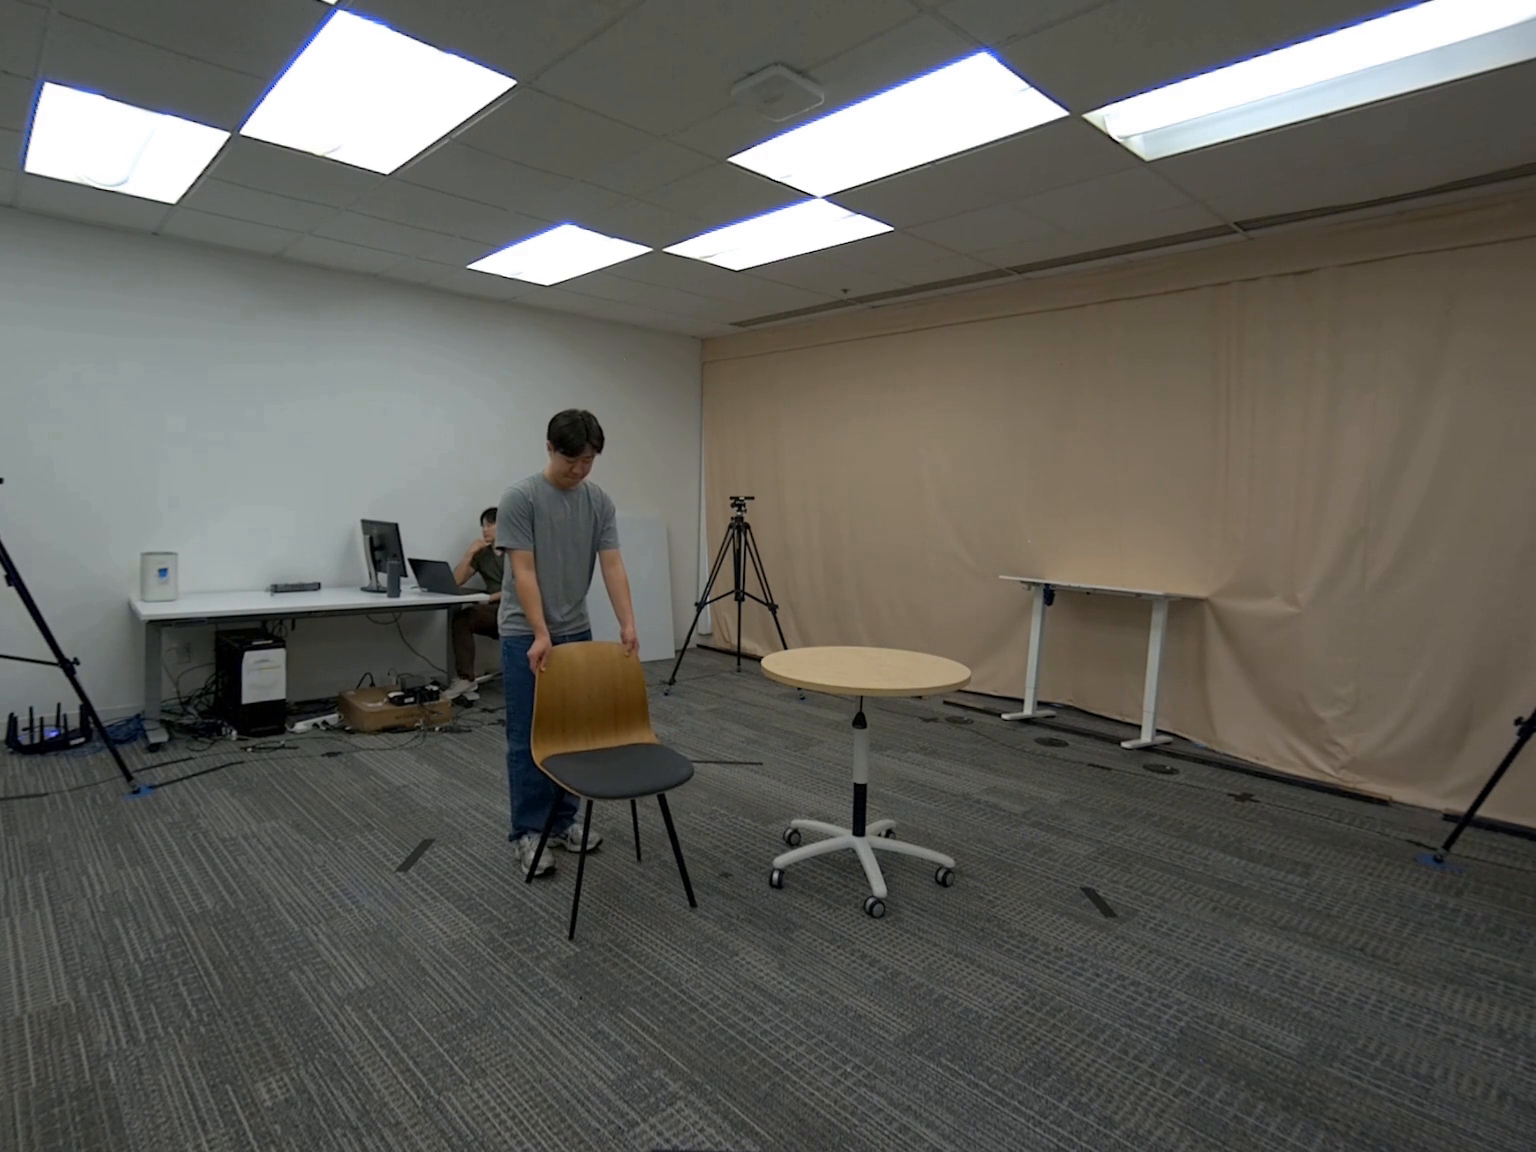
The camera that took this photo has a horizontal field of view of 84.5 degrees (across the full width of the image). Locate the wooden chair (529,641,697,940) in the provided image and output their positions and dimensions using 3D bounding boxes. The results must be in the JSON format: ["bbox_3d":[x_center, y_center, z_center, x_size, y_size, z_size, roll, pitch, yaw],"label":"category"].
[{"bbox_3d":[-0.535,0.687,2.890,0.468,0.878,0.534,-1,-1,-33],"label":"wooden chair"}]
